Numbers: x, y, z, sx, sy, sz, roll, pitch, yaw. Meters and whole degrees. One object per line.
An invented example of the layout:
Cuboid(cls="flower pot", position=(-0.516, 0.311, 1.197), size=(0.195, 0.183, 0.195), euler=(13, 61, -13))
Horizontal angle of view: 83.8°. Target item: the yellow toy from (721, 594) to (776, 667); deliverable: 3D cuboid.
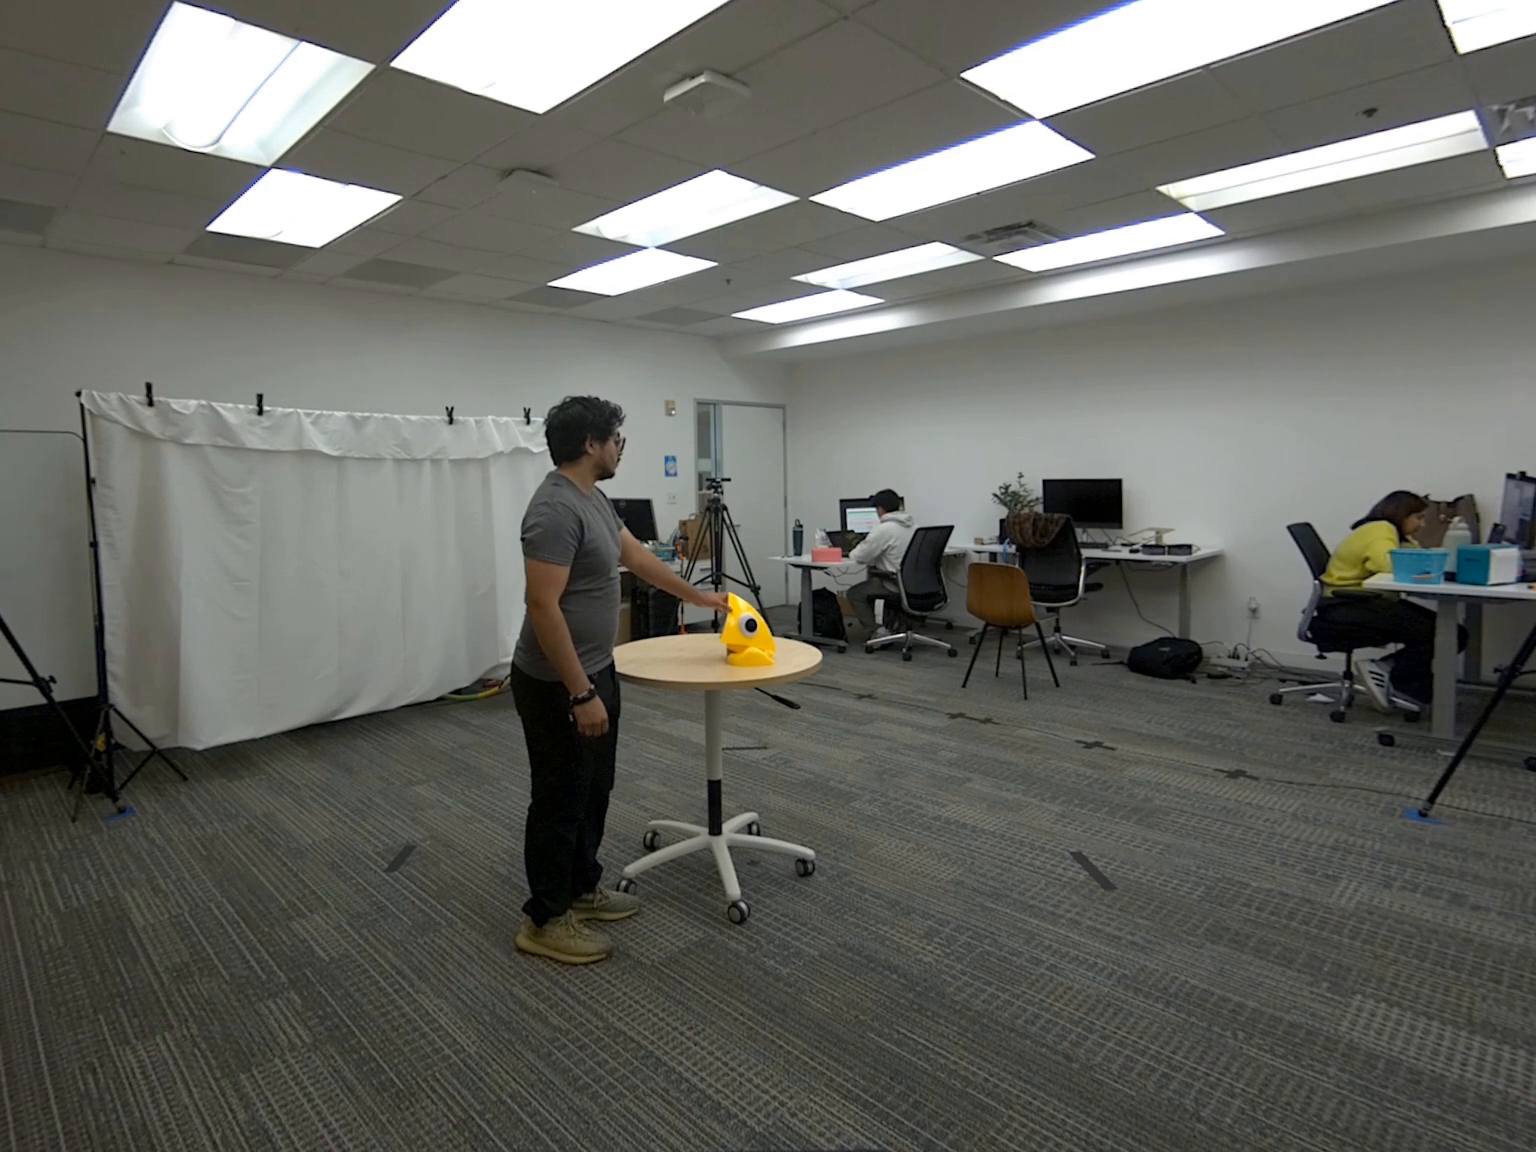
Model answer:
Cuboid(cls="yellow toy", position=(-0.069, 0.170, 2.896), size=(0.193, 0.230, 0.205), euler=(-2, 4, 1))
